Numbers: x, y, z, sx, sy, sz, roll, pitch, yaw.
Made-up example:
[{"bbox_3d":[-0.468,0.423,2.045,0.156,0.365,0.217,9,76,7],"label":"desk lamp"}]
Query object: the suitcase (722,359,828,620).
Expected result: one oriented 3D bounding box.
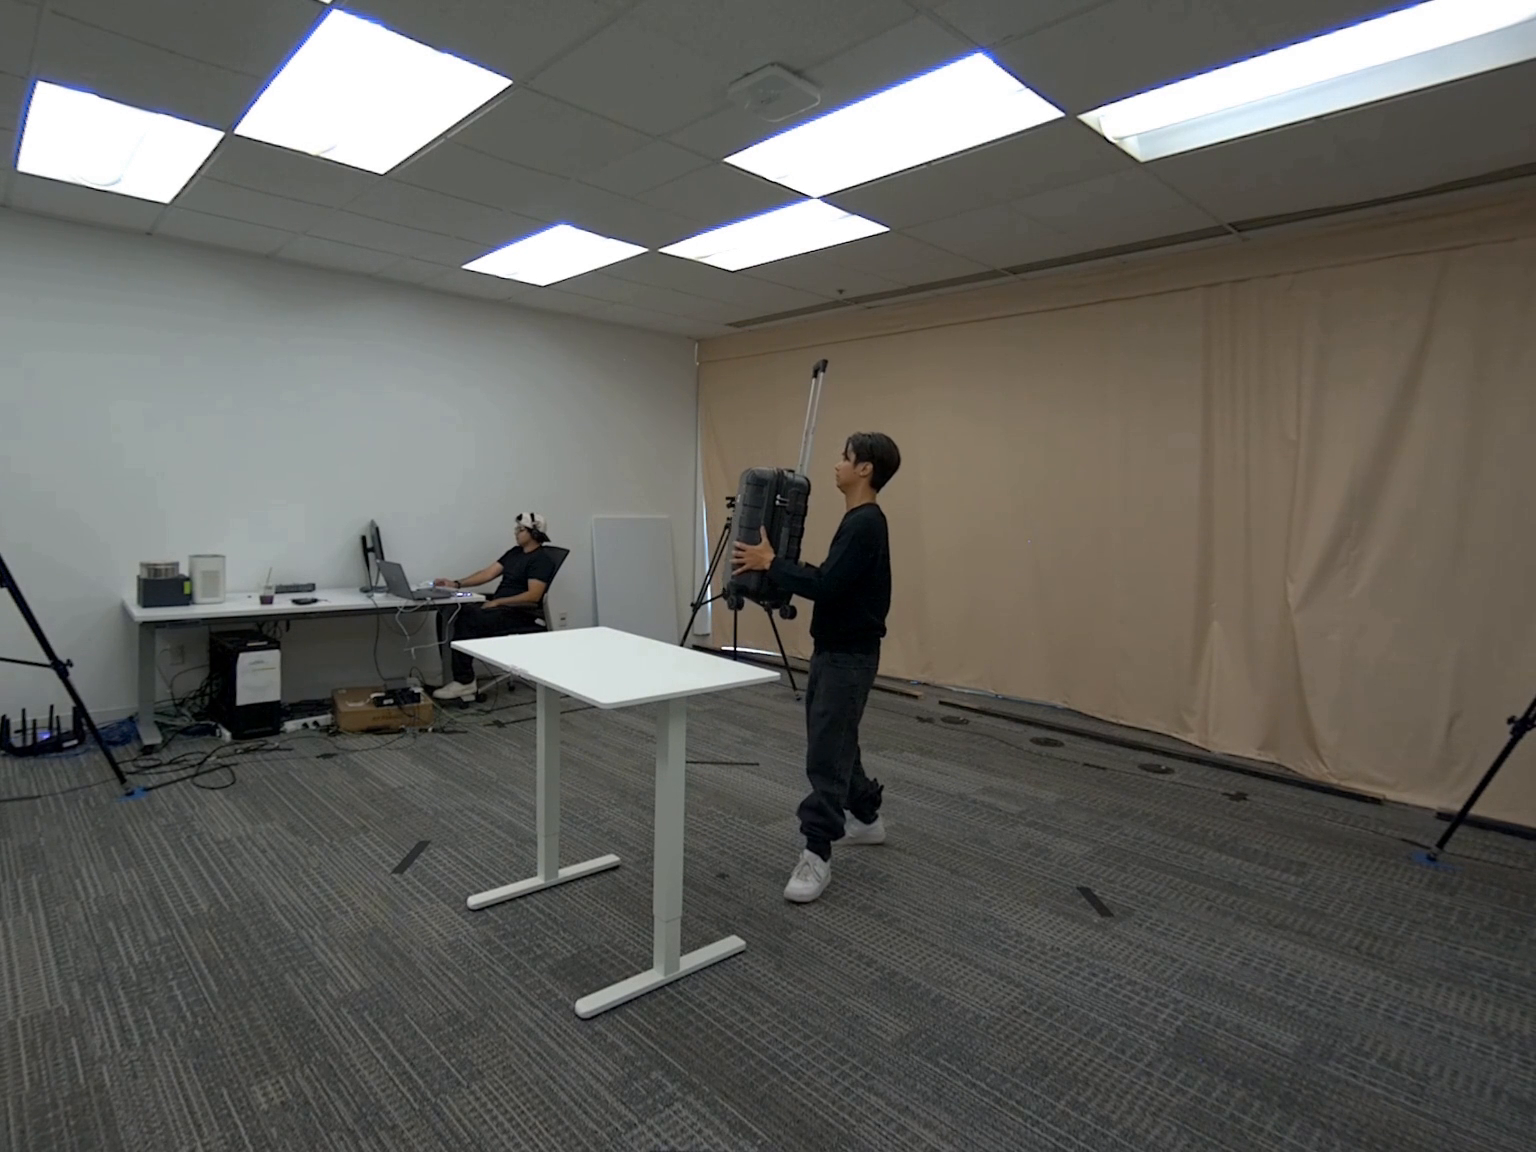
[{"bbox_3d":[0.014,-0.348,3.230,0.255,0.977,0.386,8,2,-7],"label":"suitcase"}]
